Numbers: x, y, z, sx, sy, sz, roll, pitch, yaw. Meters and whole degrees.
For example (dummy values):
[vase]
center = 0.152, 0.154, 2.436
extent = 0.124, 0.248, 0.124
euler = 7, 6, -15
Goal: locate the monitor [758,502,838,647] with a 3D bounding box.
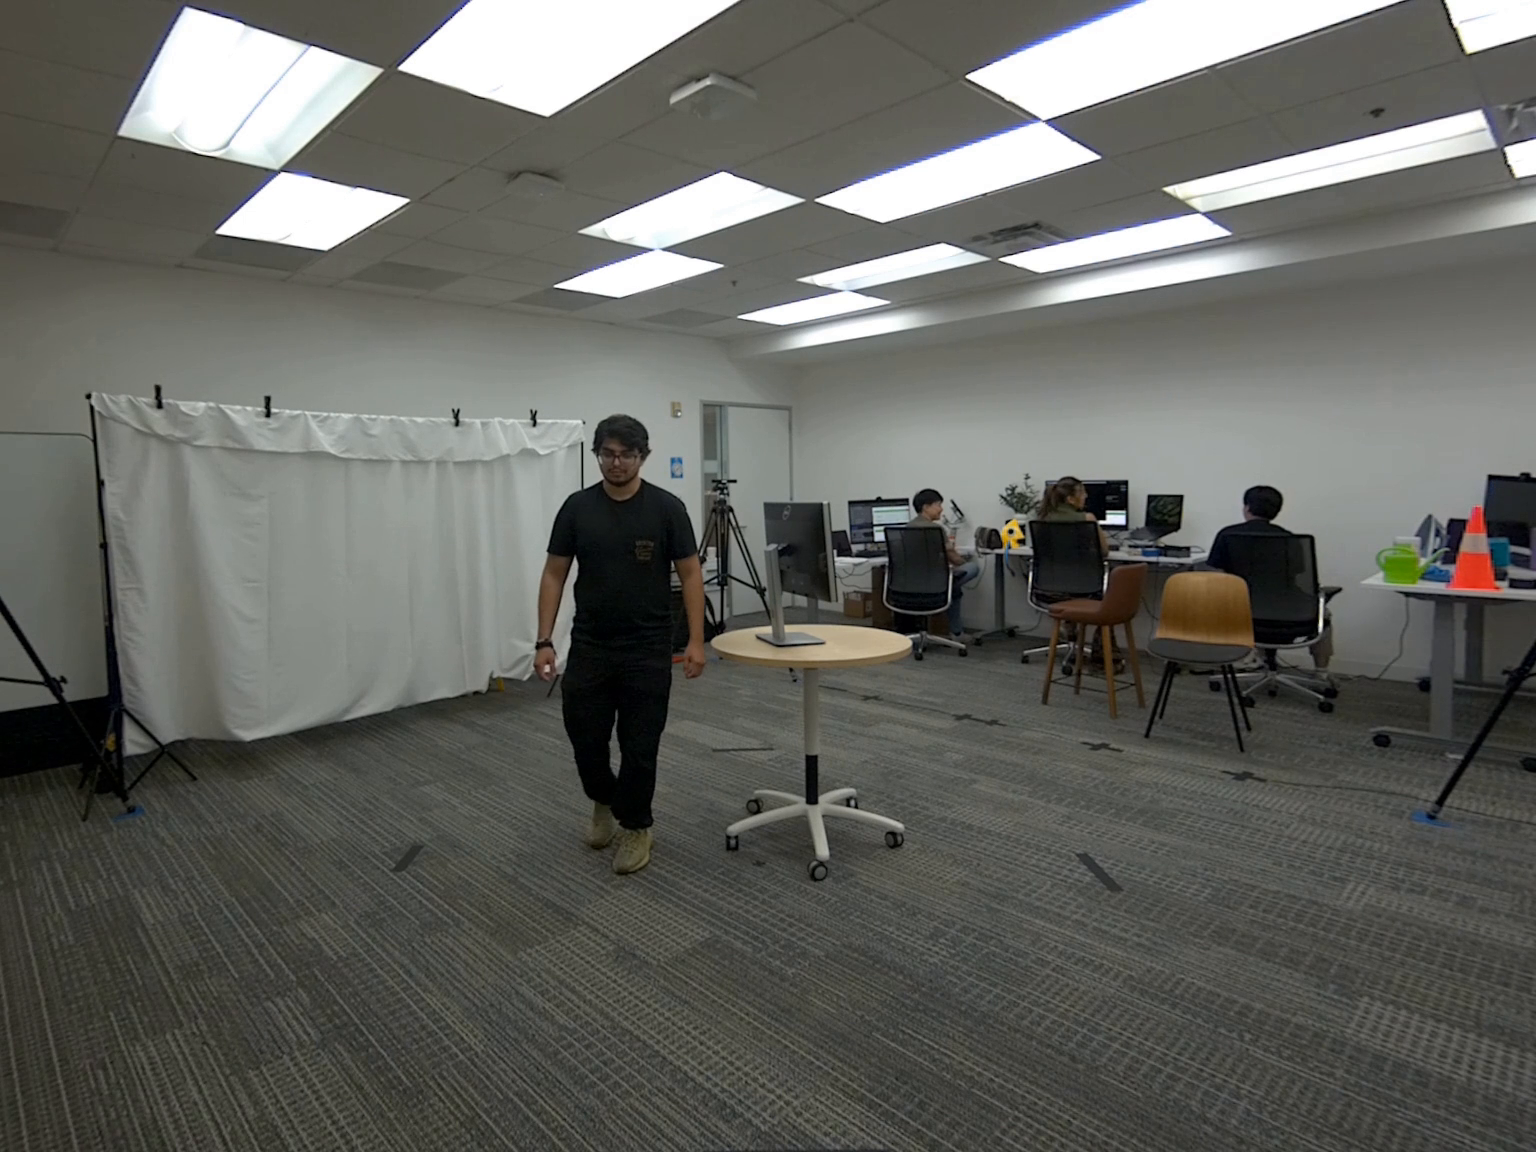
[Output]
[monitor]
center = 0.060, -0.012, 3.267
extent = 0.206, 0.552, 0.578
euler = -5, 6, -21
